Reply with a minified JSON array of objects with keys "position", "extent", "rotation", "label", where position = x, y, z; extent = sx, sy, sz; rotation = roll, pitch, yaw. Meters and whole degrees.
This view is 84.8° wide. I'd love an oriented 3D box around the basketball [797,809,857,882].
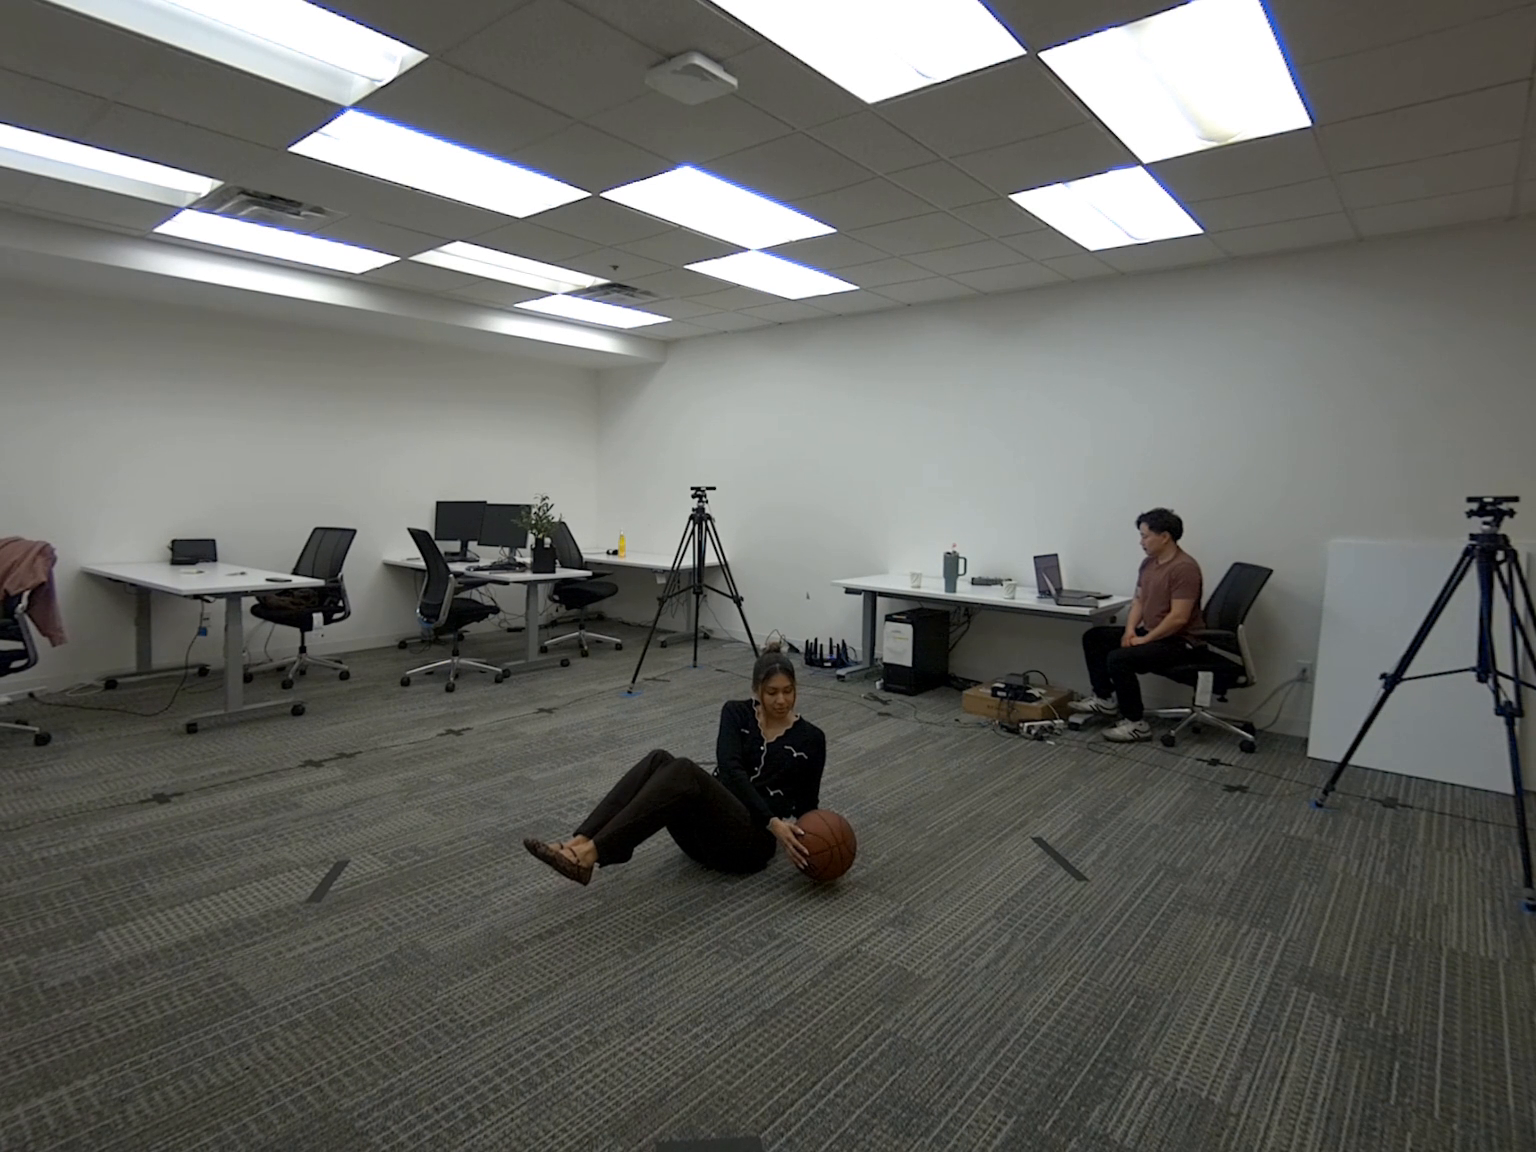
[{"position":[0.183,0.923,2.967],"extent":[0.235,0.235,0.237],"rotation":[1,4,-2],"label":"basketball"}]
